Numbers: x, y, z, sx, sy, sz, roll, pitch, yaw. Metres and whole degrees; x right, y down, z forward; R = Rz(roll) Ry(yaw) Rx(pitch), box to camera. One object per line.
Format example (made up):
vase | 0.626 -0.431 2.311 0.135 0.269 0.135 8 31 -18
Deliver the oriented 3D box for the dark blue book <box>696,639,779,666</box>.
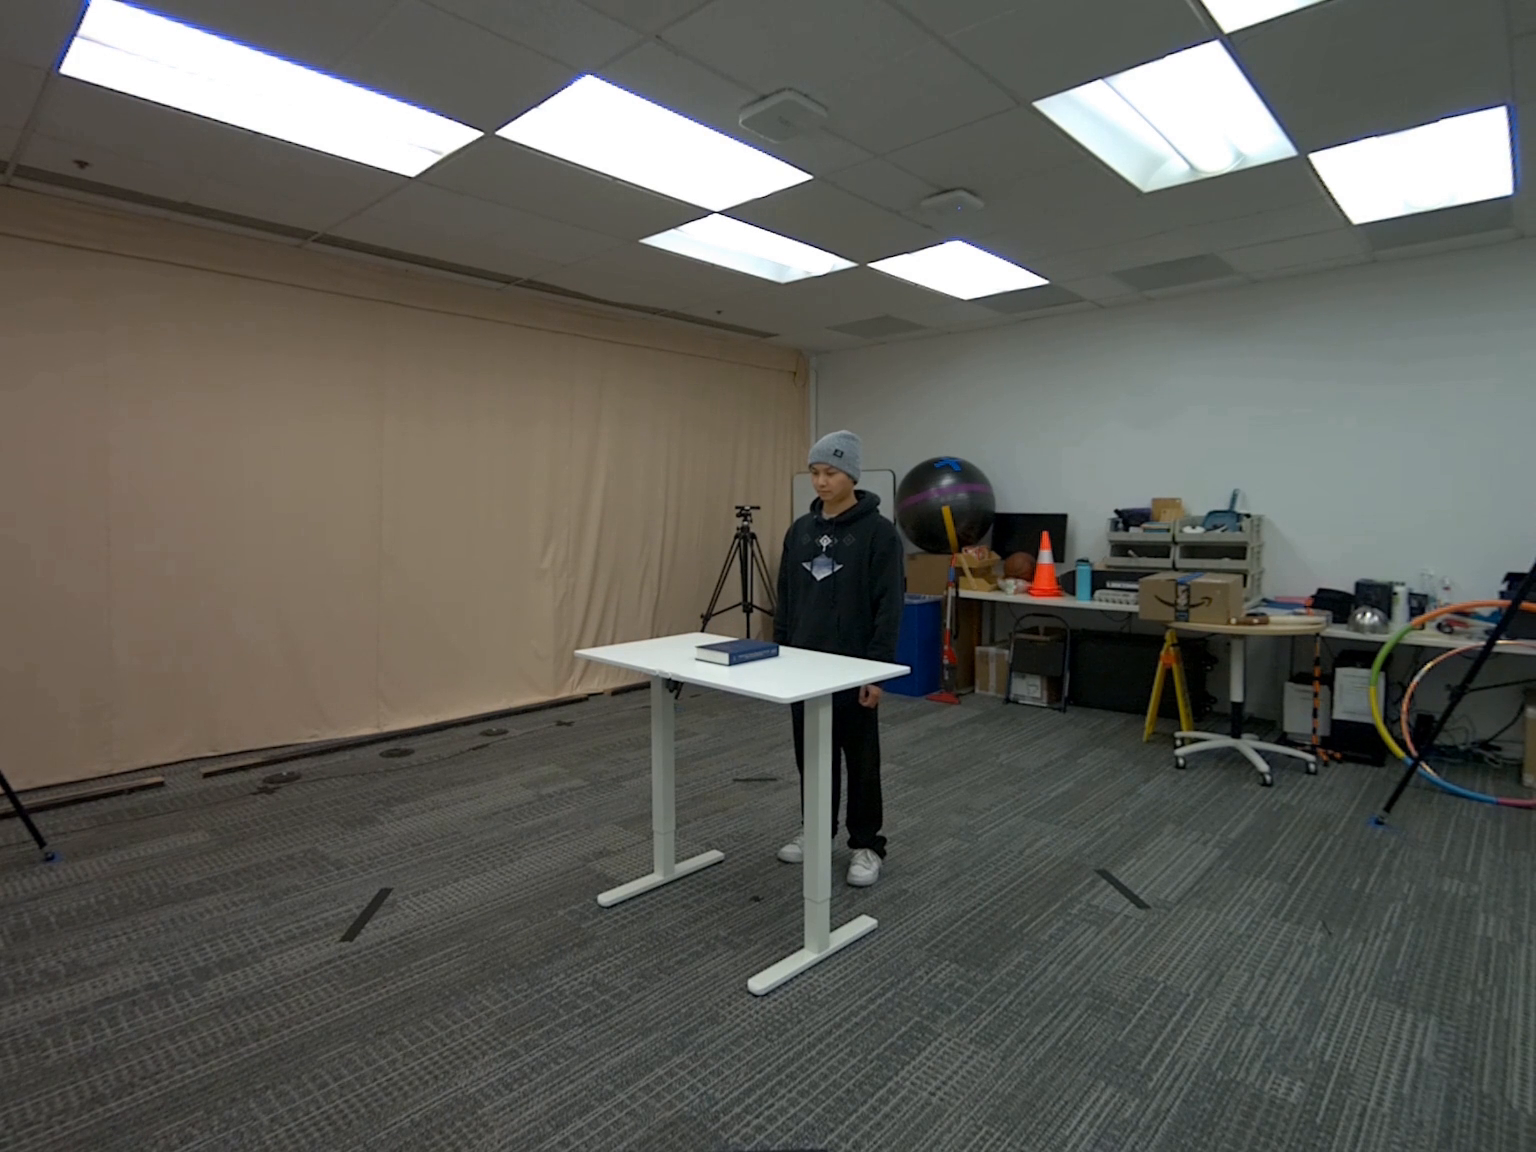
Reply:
dark blue book | -0.100 0.256 2.822 0.169 0.045 0.238 5 7 43
